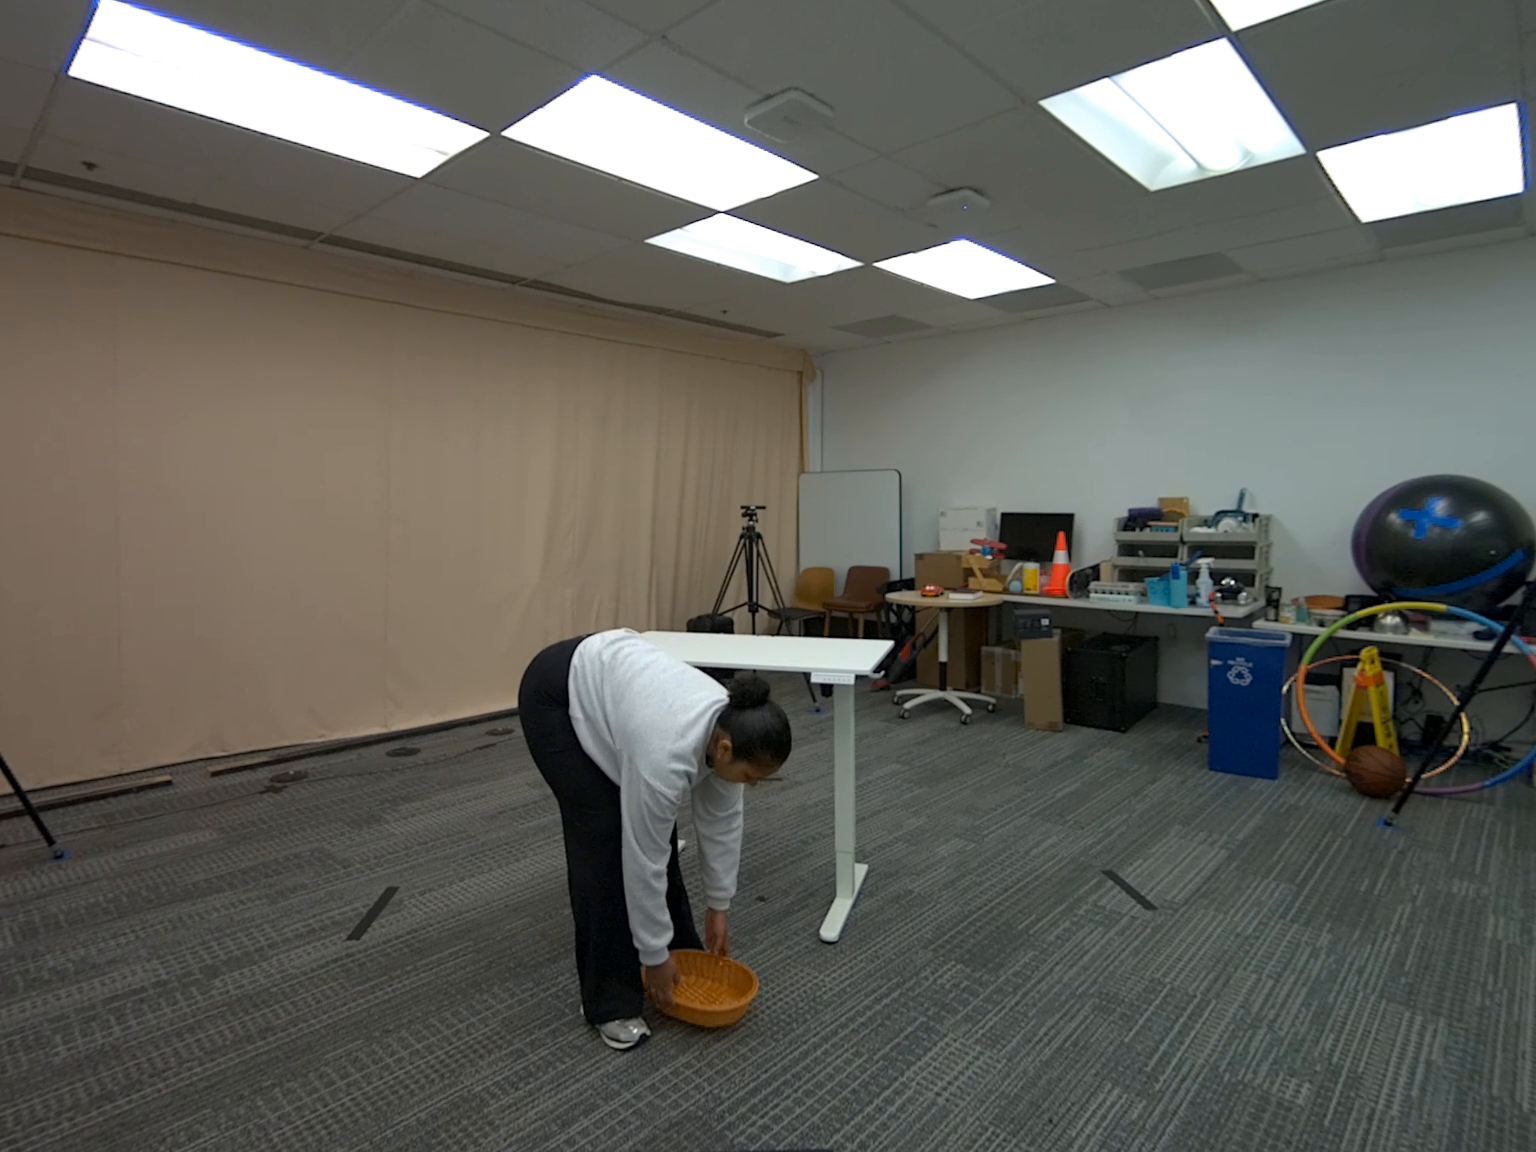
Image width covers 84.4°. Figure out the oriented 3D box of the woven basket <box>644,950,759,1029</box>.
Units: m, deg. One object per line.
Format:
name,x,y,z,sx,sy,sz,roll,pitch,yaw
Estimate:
woven basket,-0.188,1.101,2.309,0.361,0.073,0.245,3,7,34
